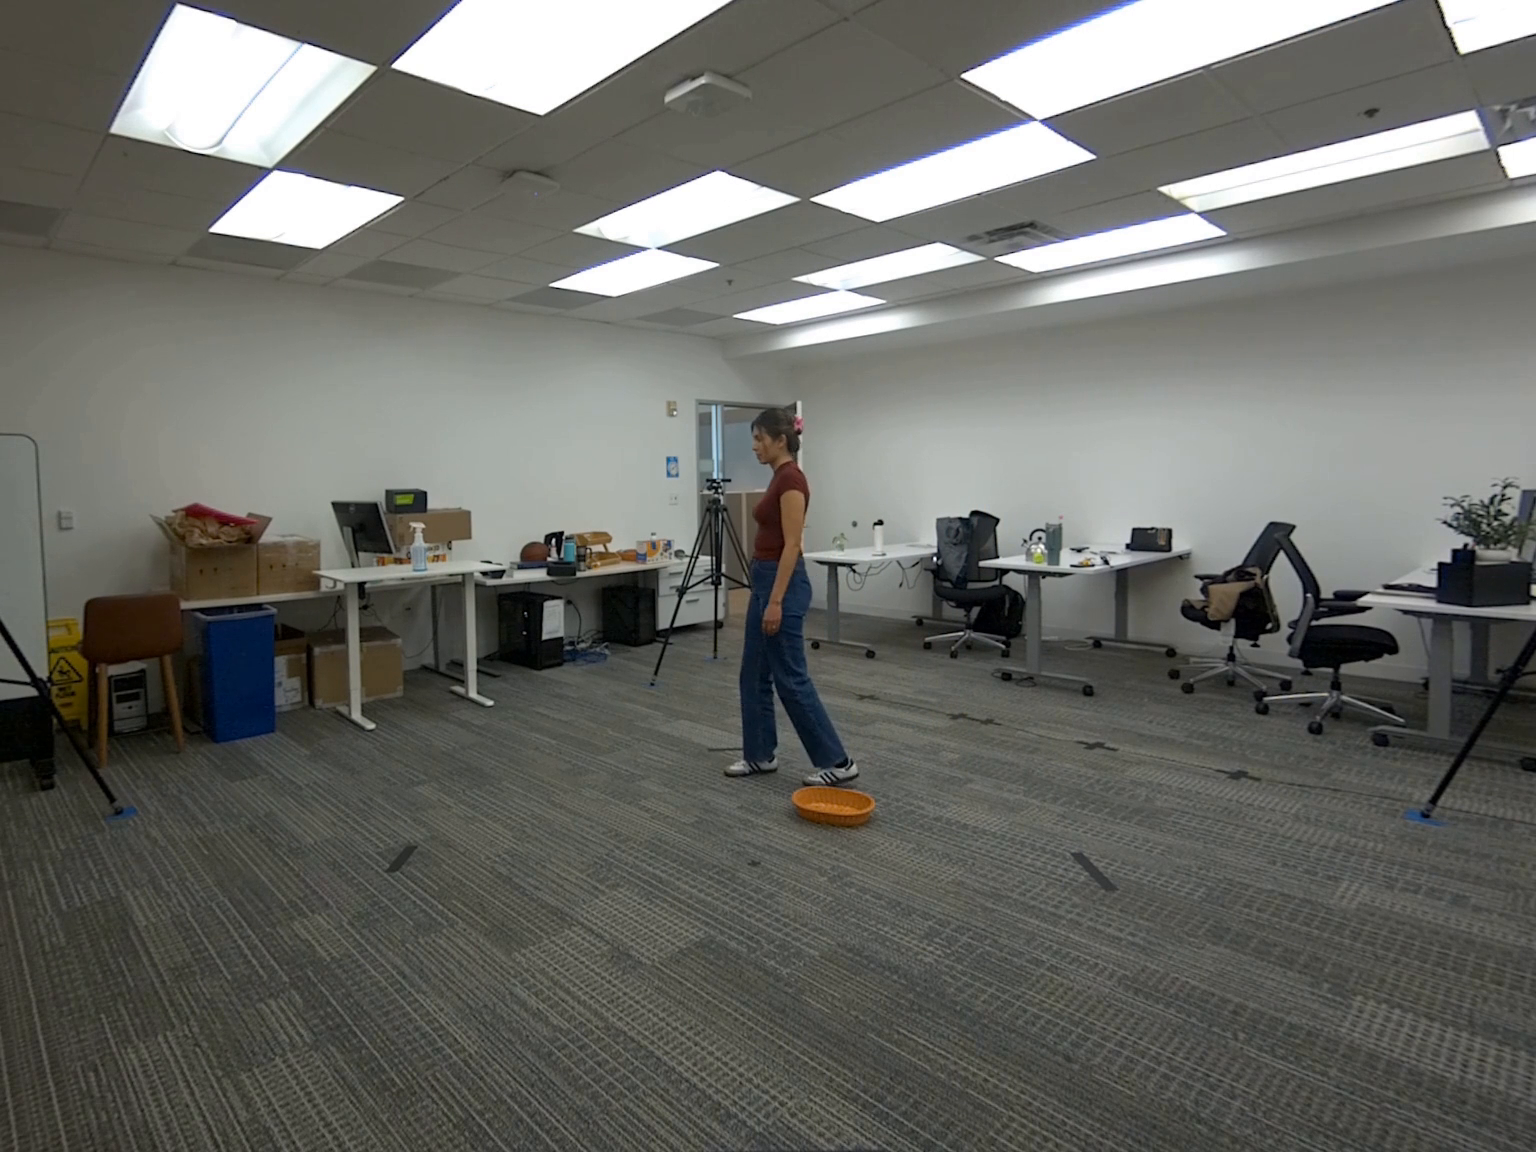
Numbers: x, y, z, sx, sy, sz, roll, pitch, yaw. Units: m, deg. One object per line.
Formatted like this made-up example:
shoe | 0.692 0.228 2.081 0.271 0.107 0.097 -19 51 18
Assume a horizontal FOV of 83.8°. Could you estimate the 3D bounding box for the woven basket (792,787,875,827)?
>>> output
woven basket | 0.266 0.956 3.523 0.359 0.073 0.248 2 9 25
